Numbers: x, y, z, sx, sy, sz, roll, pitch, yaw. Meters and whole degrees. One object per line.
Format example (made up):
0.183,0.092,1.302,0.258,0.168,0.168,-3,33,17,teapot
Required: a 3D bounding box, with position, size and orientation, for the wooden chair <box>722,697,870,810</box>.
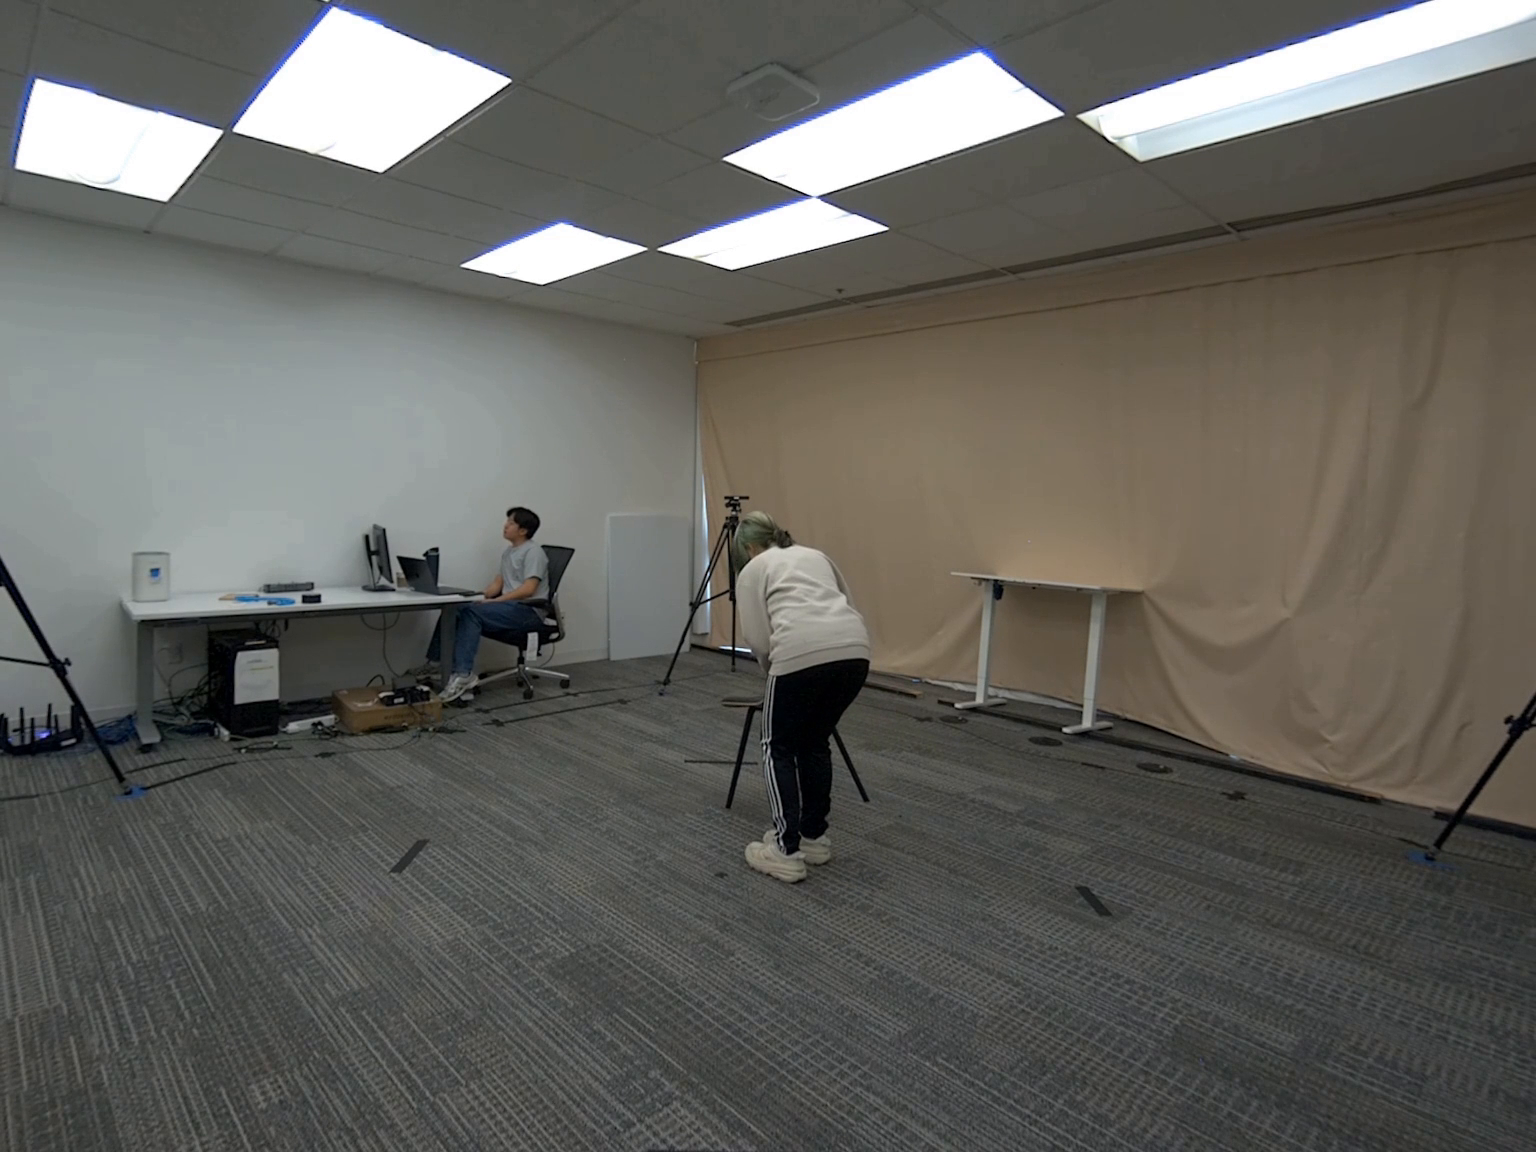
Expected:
0.077,0.595,3.771,0.467,0.879,0.534,-1,-2,-37,wooden chair
